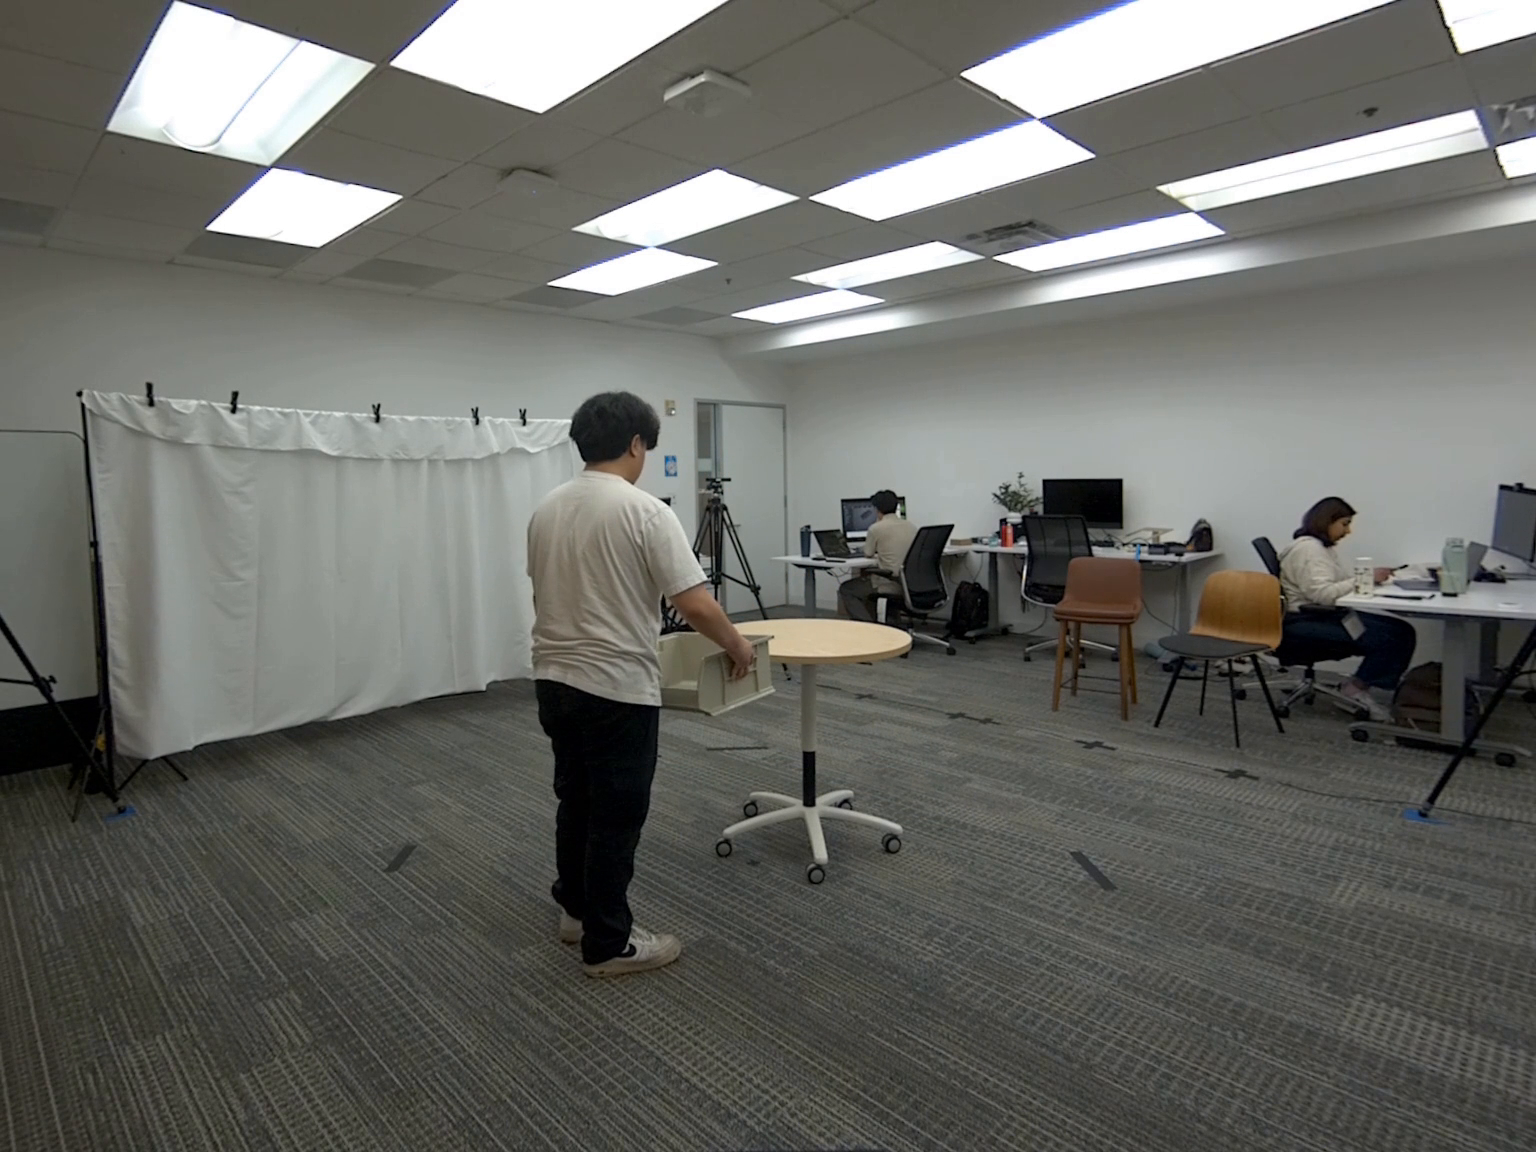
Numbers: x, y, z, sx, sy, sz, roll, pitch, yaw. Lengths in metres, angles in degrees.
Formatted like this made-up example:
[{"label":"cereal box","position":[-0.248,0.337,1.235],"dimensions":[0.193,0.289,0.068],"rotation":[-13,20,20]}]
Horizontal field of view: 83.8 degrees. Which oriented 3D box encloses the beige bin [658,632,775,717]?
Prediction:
[{"label":"beige bin","position":[-0.252,0.303,2.683],"dimensions":[0.434,0.189,0.368],"rotation":[-3,4,38]}]
